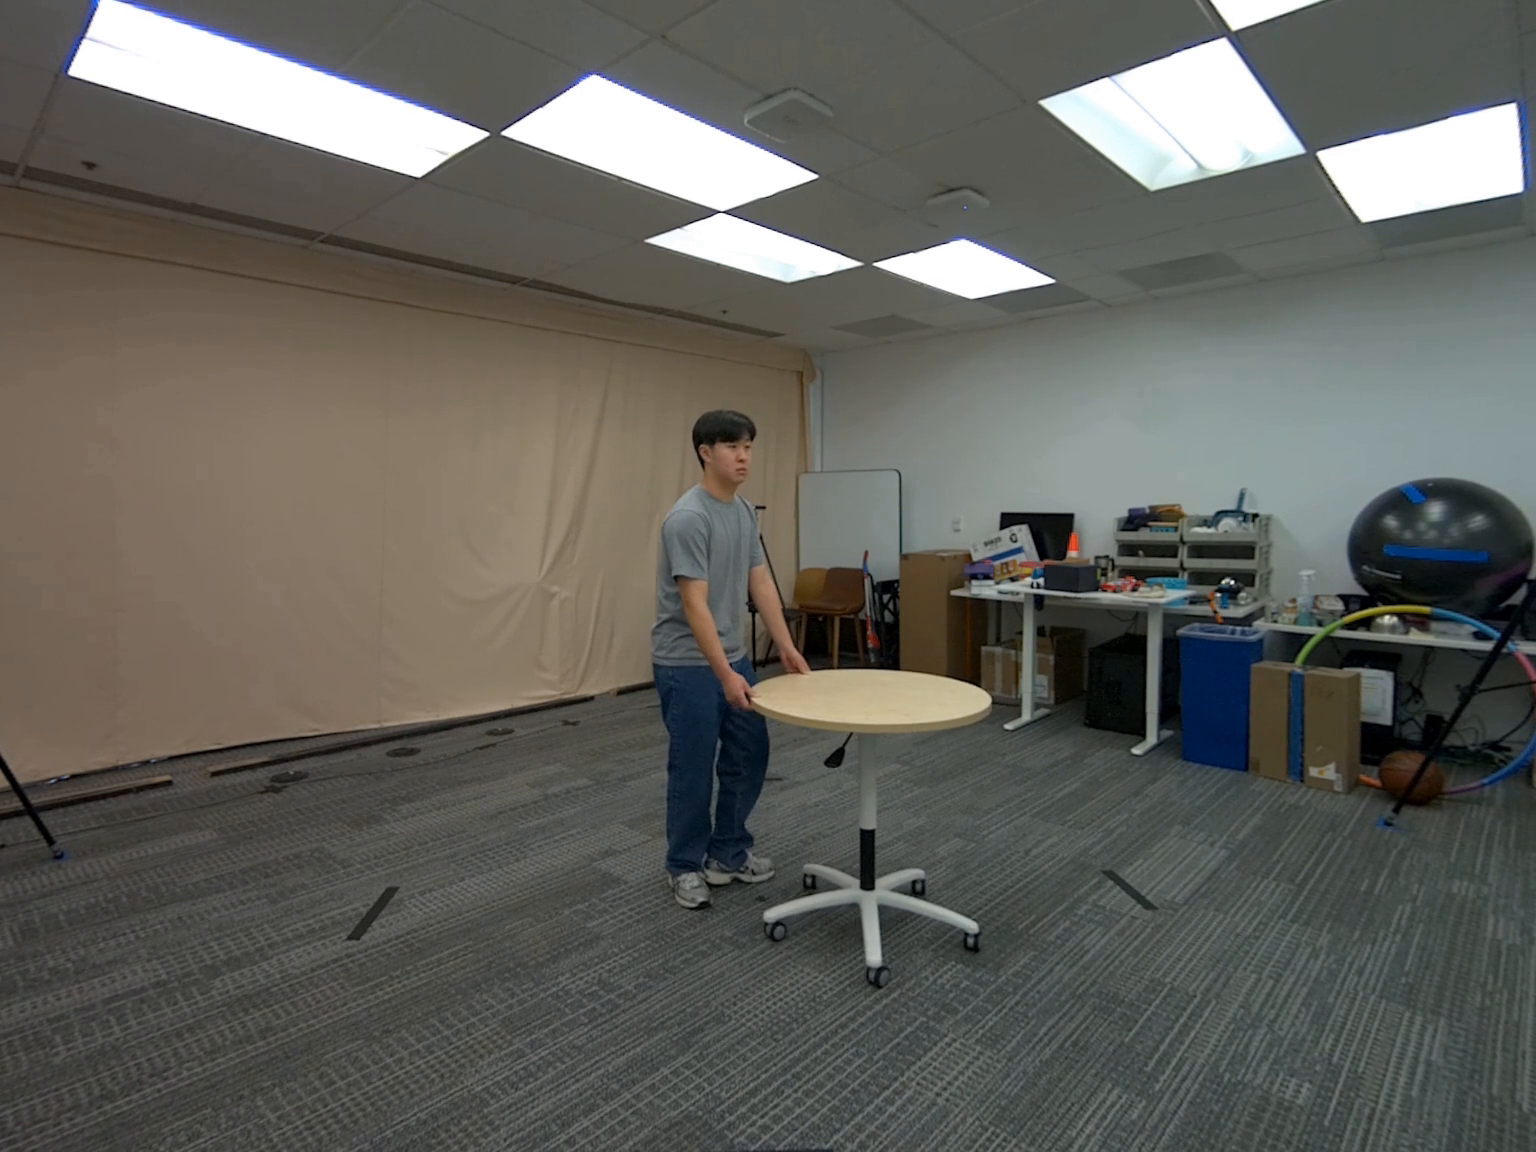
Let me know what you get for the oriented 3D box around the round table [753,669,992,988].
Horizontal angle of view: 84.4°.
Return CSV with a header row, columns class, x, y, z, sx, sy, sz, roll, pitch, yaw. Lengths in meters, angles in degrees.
class,x,y,z,sx,sy,sz,roll,pitch,yaw
round table,0.328,0.772,2.740,0.763,0.792,0.767,-1,4,-2
